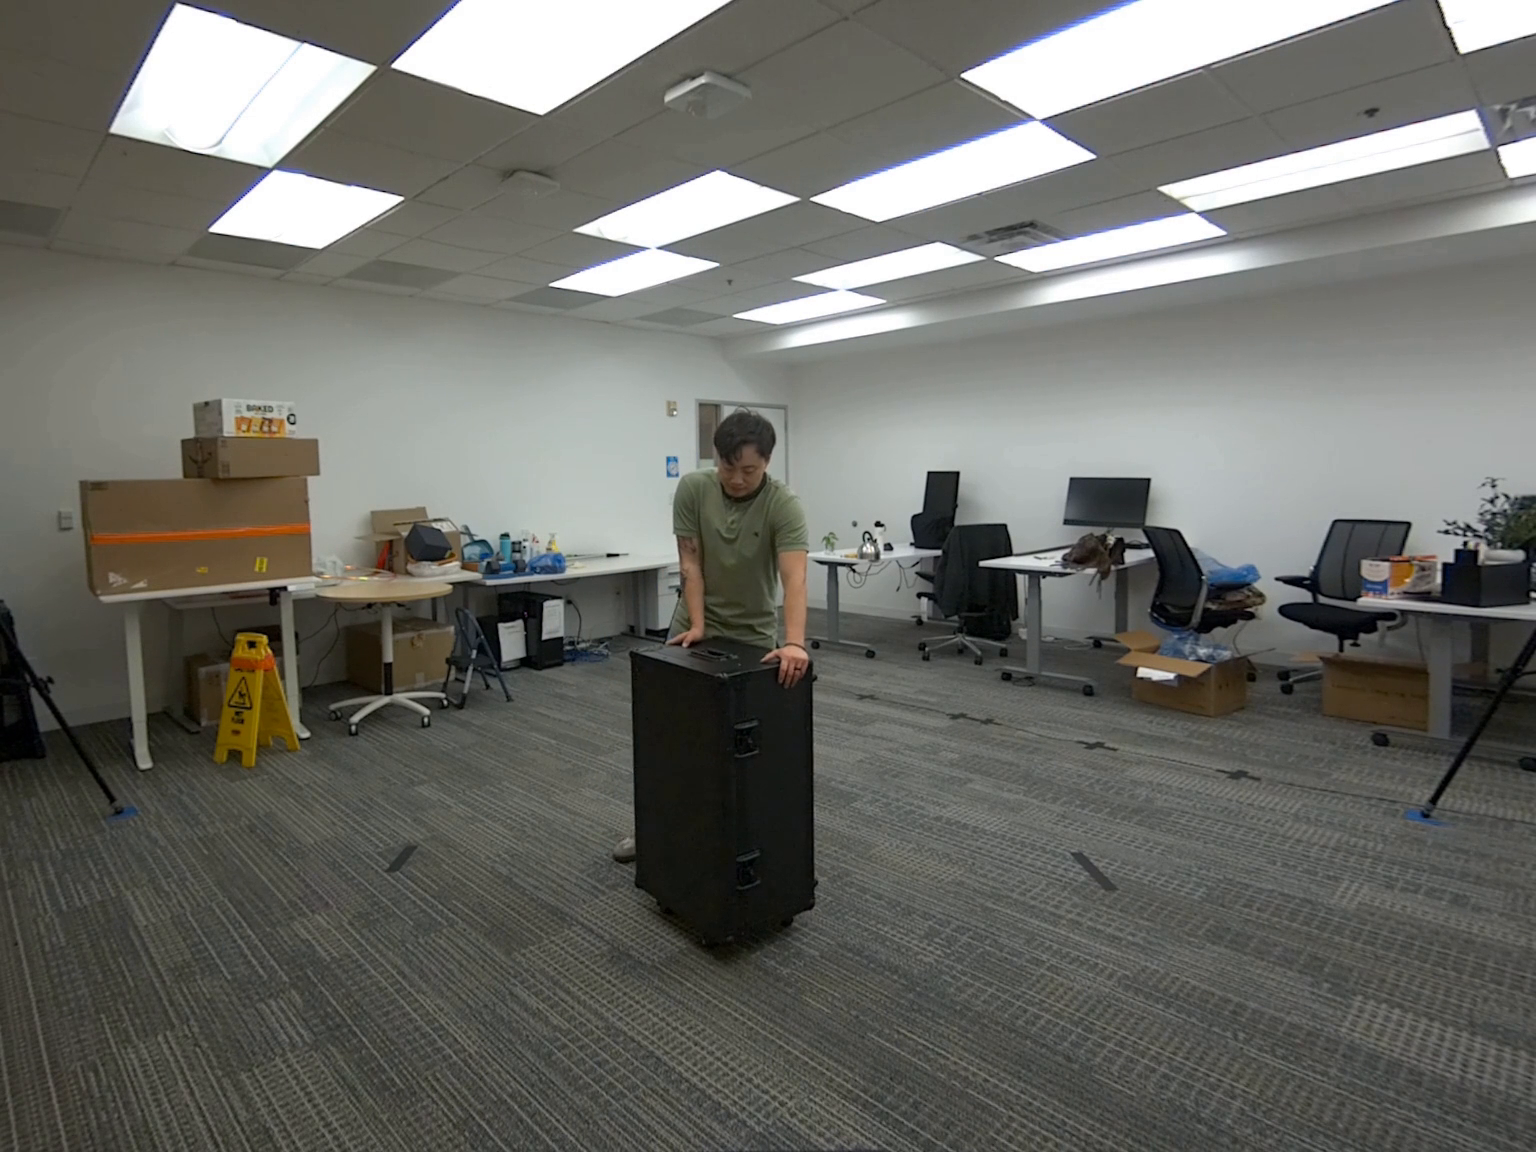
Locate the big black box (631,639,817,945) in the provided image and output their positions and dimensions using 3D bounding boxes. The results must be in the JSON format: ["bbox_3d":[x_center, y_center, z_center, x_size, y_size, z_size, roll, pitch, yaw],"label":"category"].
[{"bbox_3d":[-0.143,0.668,2.698,0.386,0.858,0.537,-5,6,-40],"label":"big black box"}]
